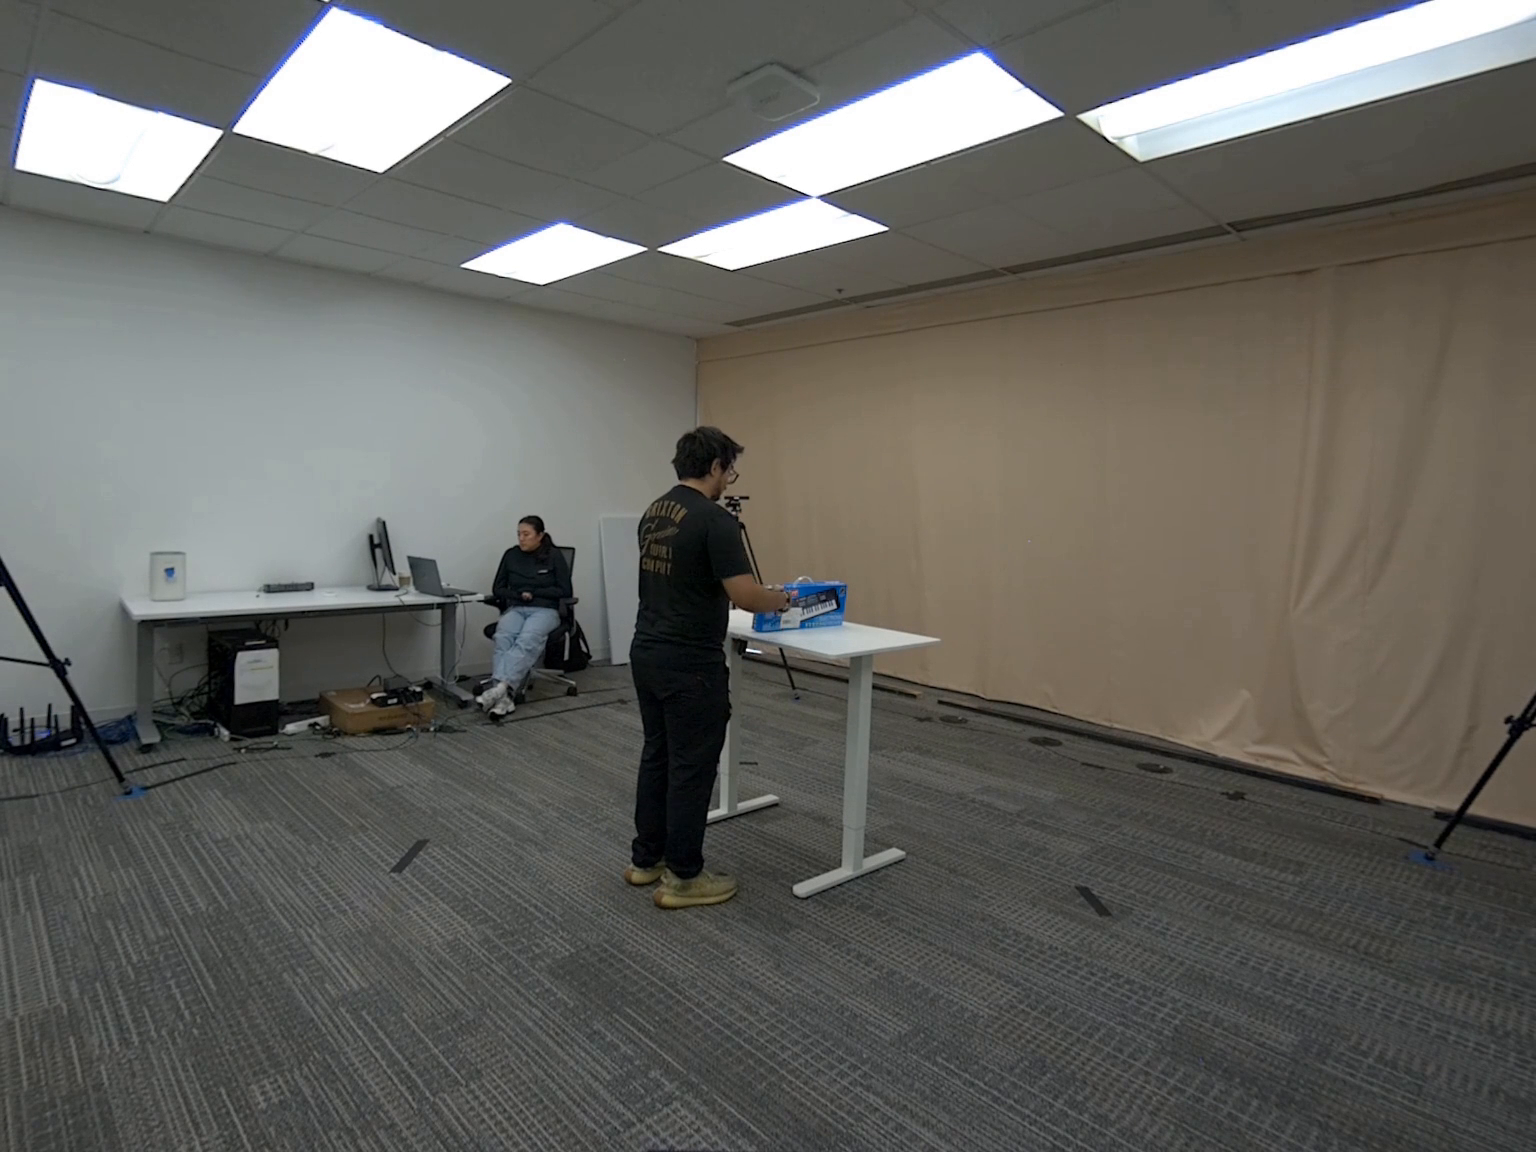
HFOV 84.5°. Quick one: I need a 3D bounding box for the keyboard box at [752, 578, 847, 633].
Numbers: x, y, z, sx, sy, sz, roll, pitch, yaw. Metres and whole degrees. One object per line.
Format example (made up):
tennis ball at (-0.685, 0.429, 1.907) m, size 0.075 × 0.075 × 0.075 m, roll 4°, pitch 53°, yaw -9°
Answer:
keyboard box at (0.126, 0.122, 3.326) m, size 0.427 × 0.175 × 0.061 m, roll -2°, pitch 12°, yaw -39°
